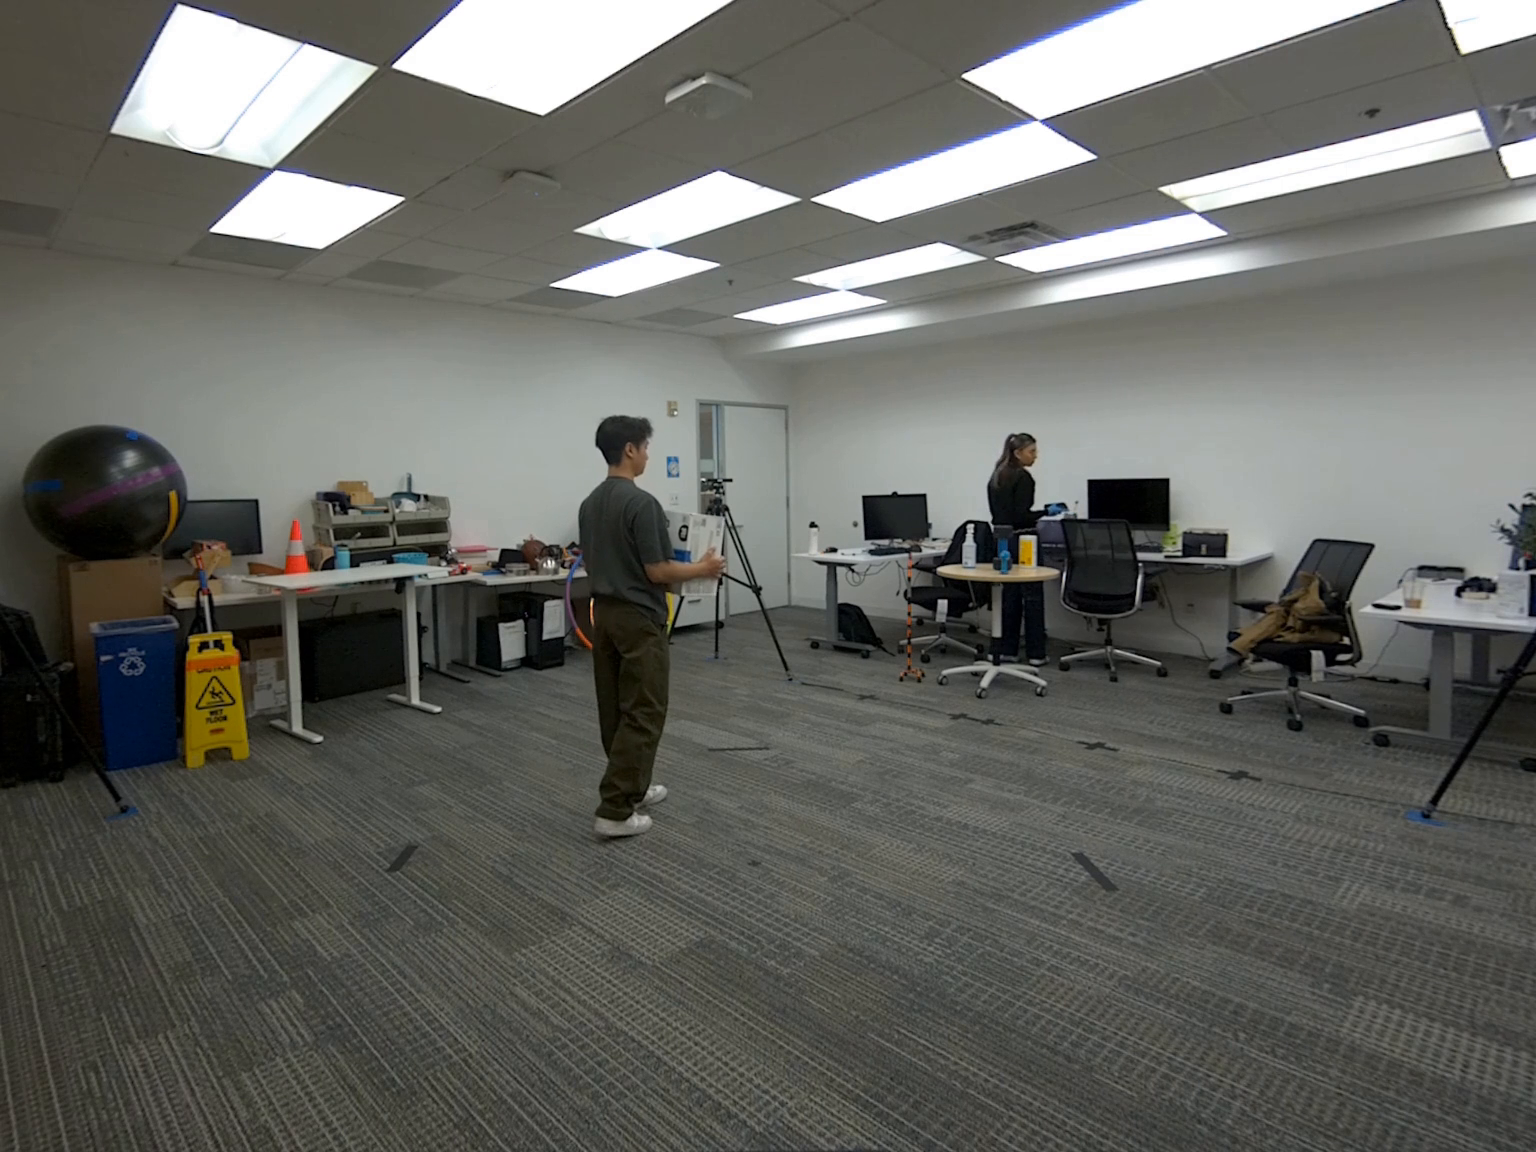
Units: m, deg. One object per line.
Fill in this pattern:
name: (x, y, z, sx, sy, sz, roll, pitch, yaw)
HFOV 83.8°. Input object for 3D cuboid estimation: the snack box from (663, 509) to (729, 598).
snack box: (-0.407, -0.110, 3.686, 0.419, 0.339, 0.199, 10, 4, 44)
